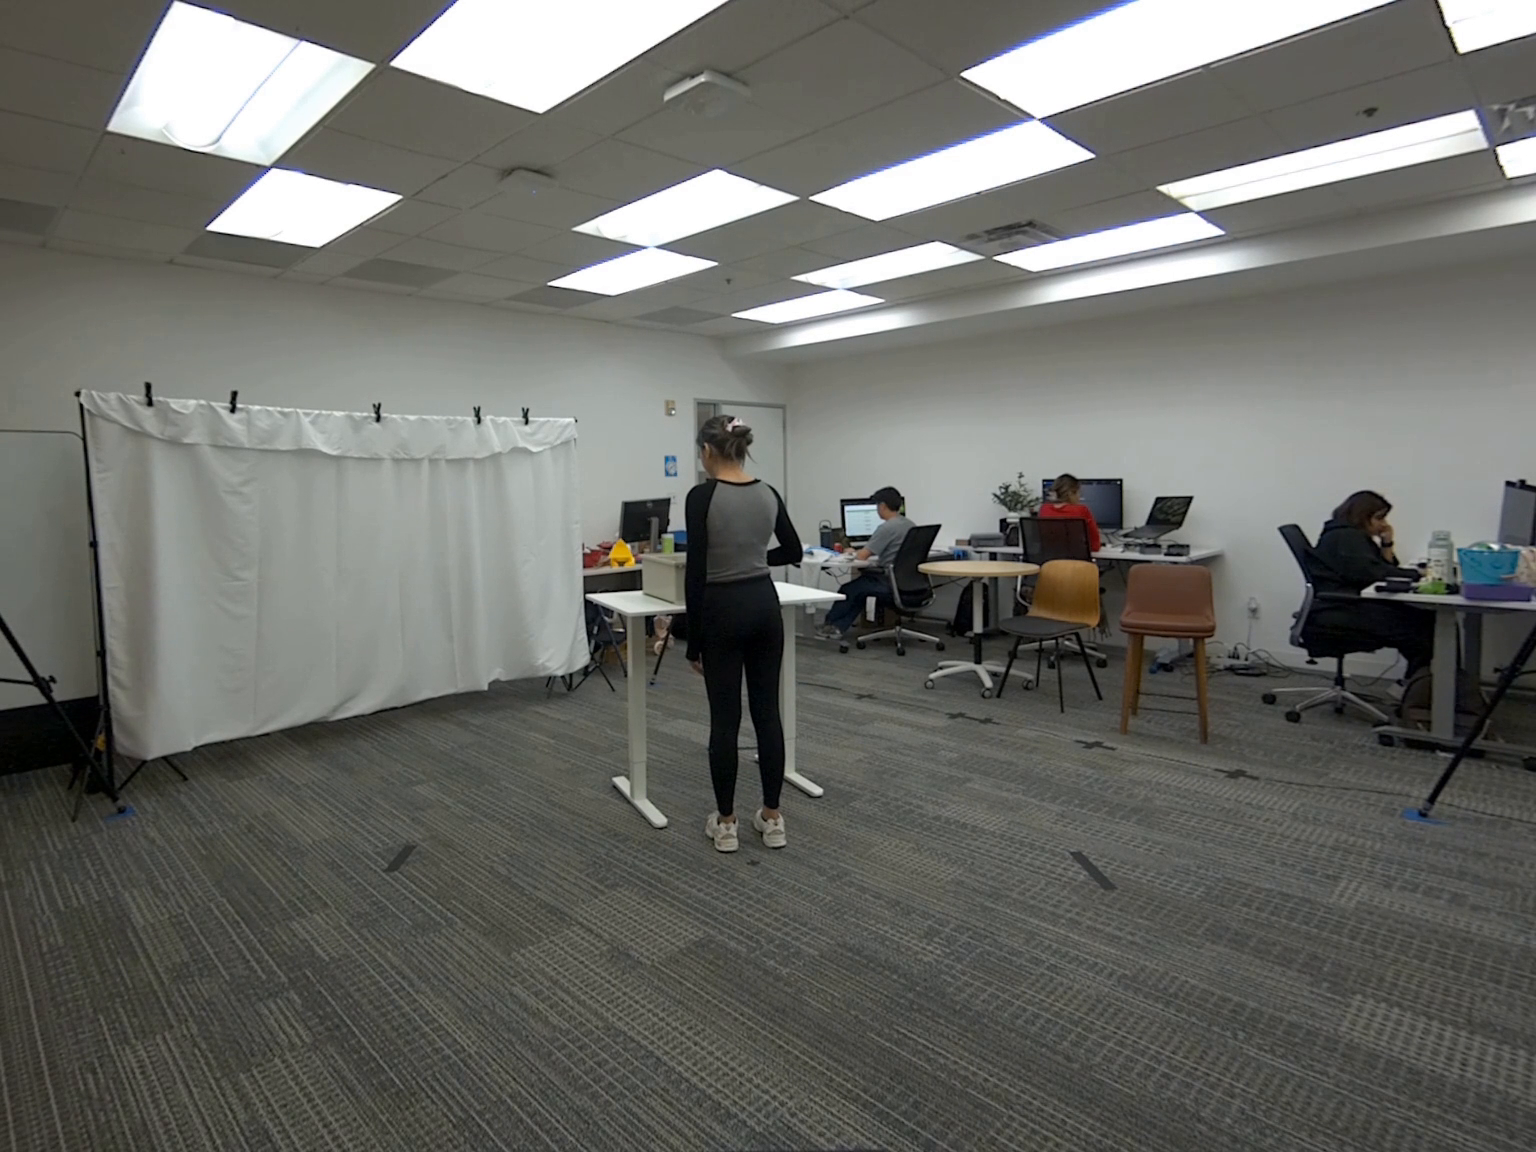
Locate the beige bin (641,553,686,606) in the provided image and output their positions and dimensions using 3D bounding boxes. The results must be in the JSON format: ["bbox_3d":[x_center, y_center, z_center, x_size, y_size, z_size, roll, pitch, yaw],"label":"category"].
[{"bbox_3d":[-0.311,0.007,3.730,0.369,0.188,0.434,-5,8,-27],"label":"beige bin"}]
